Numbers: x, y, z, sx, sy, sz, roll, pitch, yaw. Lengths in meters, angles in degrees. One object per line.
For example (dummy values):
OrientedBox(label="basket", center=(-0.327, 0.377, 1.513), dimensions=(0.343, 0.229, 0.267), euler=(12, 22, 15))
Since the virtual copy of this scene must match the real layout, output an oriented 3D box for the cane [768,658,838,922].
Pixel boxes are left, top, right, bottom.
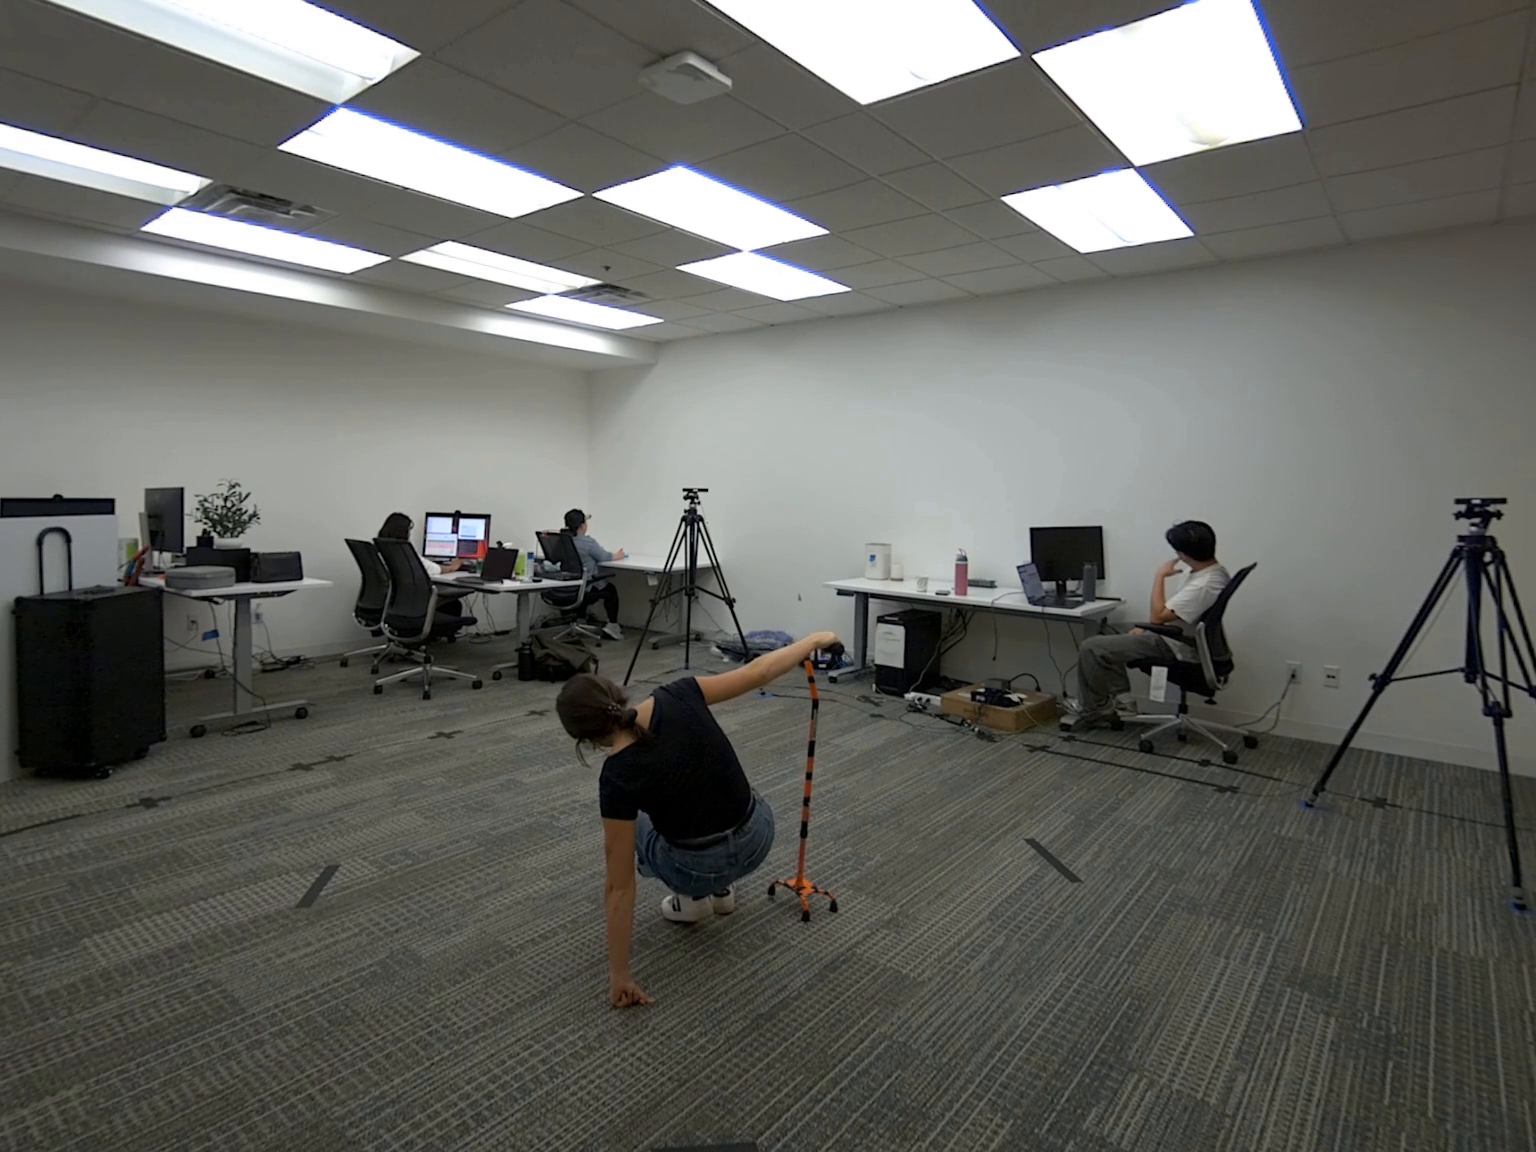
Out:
OrientedBox(label="cane", center=(0.152, 0.648, 2.806), dimensions=(0.147, 0.903, 0.214), euler=(-1, 8, -37))
